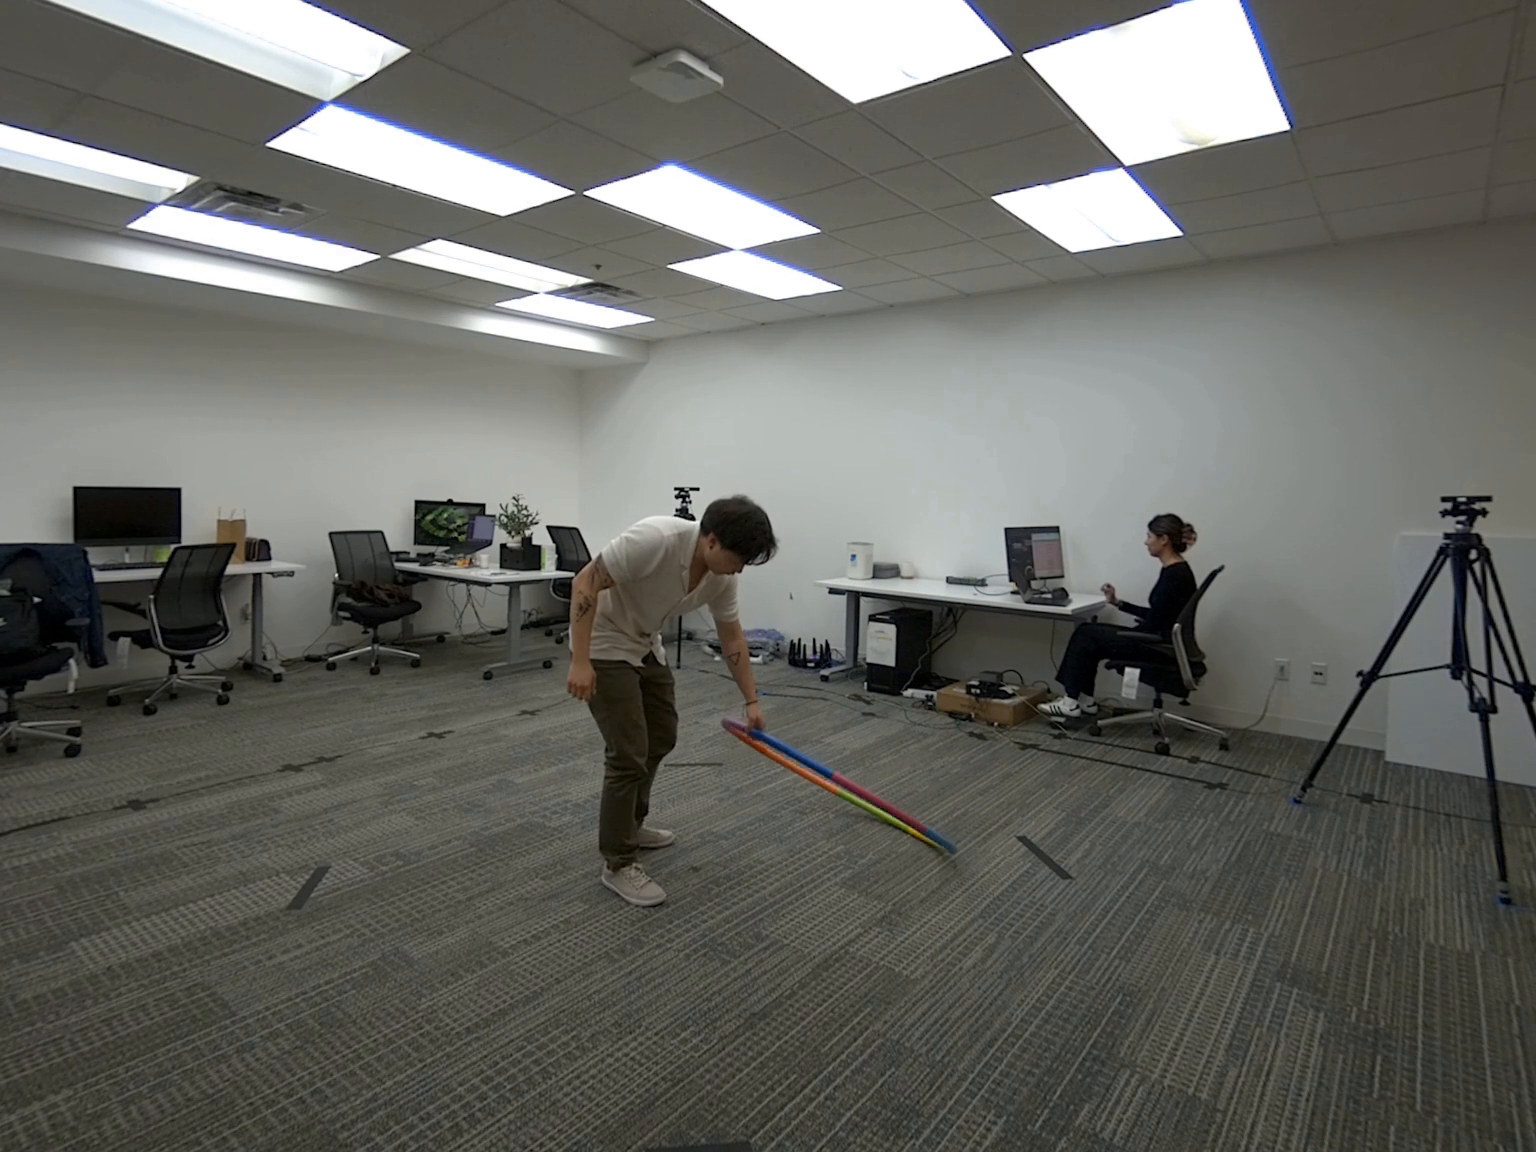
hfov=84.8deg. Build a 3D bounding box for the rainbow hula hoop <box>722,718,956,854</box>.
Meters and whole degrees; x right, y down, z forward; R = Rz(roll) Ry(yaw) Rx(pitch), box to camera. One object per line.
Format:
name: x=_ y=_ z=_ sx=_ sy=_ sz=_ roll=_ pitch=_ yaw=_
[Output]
rainbow hula hoop: x=0.243 y=0.781 z=3.256 sx=0.988 sy=0.036 sz=0.966 roll=28 pitch=-12 yaw=5
